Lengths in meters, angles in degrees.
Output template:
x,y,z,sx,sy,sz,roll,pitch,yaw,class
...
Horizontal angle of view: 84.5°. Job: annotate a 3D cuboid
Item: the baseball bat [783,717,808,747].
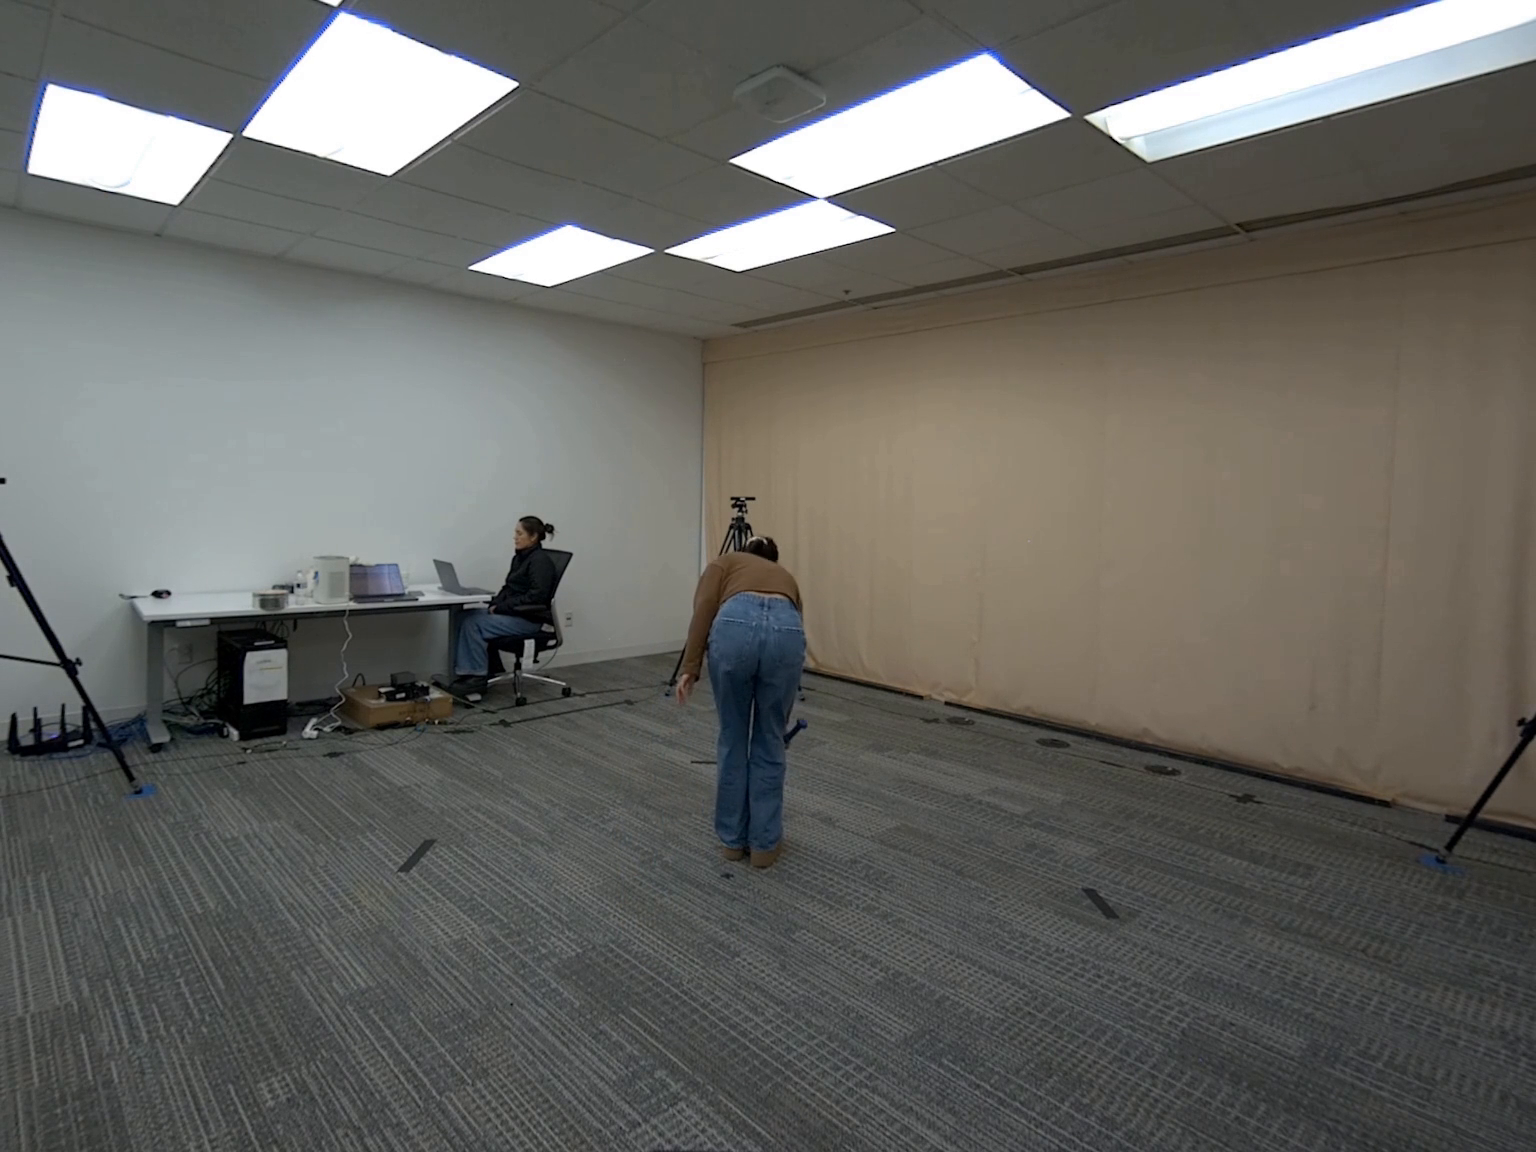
x,y,z,sx,sy,sz,roll,pitch,yaw,class
-0.004,0.785,3.581,0.087,0.542,0.091,28,31,-20,baseball bat
